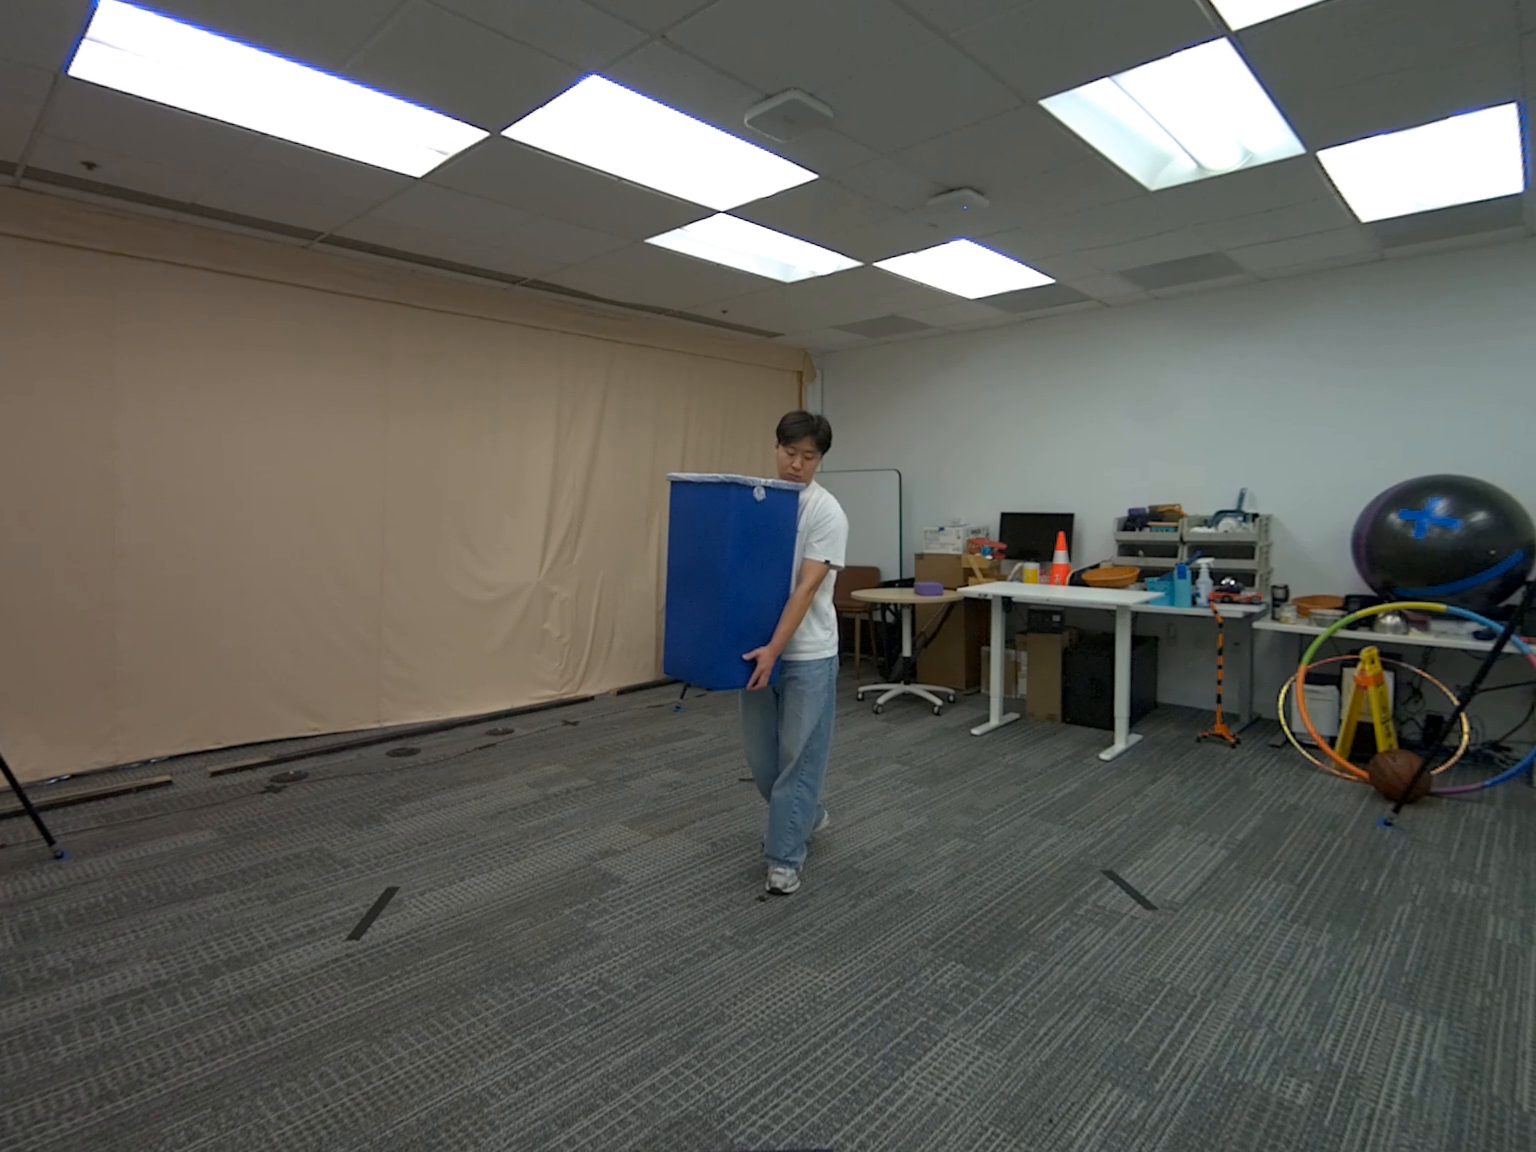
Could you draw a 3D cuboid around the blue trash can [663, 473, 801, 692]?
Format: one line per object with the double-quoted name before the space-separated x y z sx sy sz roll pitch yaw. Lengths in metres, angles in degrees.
"blue trash can" -0.150 0.009 2.982 0.365 0.713 0.387 3 3 -44
